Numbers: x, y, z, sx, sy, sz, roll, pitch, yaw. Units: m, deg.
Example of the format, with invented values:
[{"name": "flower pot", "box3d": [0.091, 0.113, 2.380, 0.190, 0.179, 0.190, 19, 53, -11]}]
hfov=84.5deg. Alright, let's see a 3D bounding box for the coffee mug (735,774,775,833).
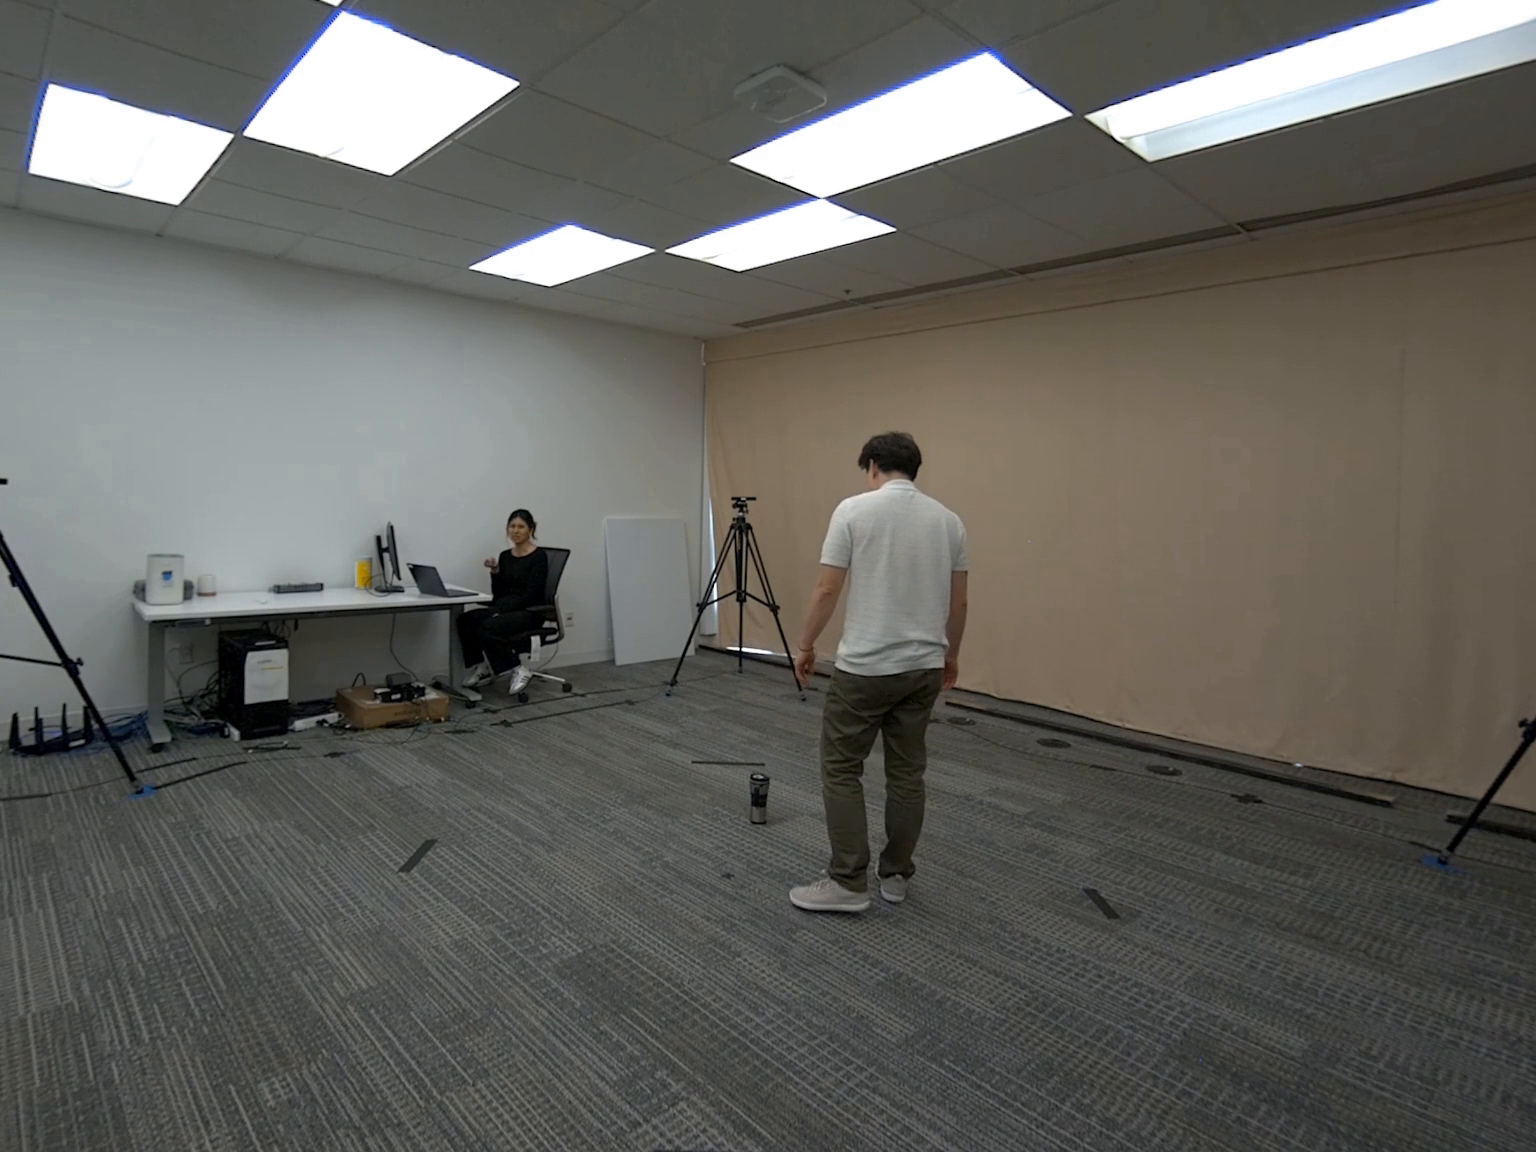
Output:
[{"name": "coffee mug", "box3d": [-0.058, 0.968, 3.621, 0.090, 0.202, 0.119, 9, 3, 38]}]
